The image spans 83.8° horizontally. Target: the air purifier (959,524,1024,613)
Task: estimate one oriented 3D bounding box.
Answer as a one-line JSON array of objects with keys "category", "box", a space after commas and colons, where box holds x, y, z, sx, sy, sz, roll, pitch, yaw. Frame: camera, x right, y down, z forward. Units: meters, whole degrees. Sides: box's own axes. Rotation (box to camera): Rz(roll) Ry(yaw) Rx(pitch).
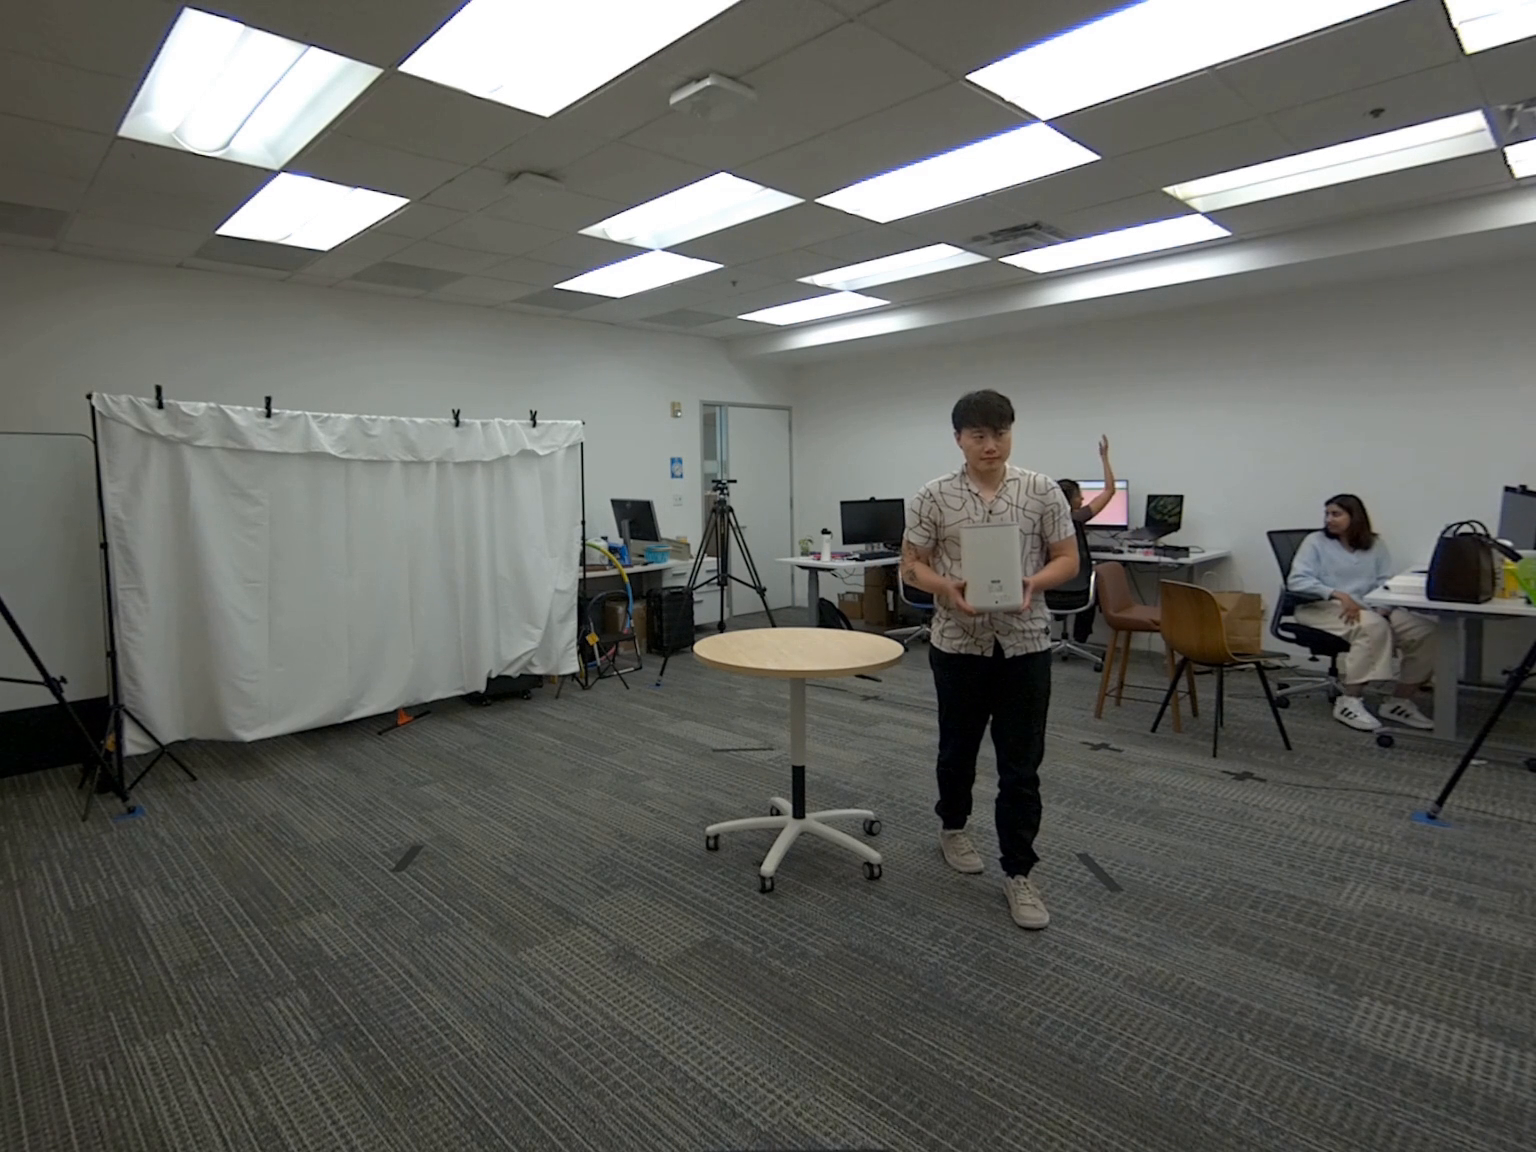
[{"category": "air purifier", "box": [0.693, -0.027, 2.632, 0.173, 0.265, 0.170, -3, 2, 9]}]
